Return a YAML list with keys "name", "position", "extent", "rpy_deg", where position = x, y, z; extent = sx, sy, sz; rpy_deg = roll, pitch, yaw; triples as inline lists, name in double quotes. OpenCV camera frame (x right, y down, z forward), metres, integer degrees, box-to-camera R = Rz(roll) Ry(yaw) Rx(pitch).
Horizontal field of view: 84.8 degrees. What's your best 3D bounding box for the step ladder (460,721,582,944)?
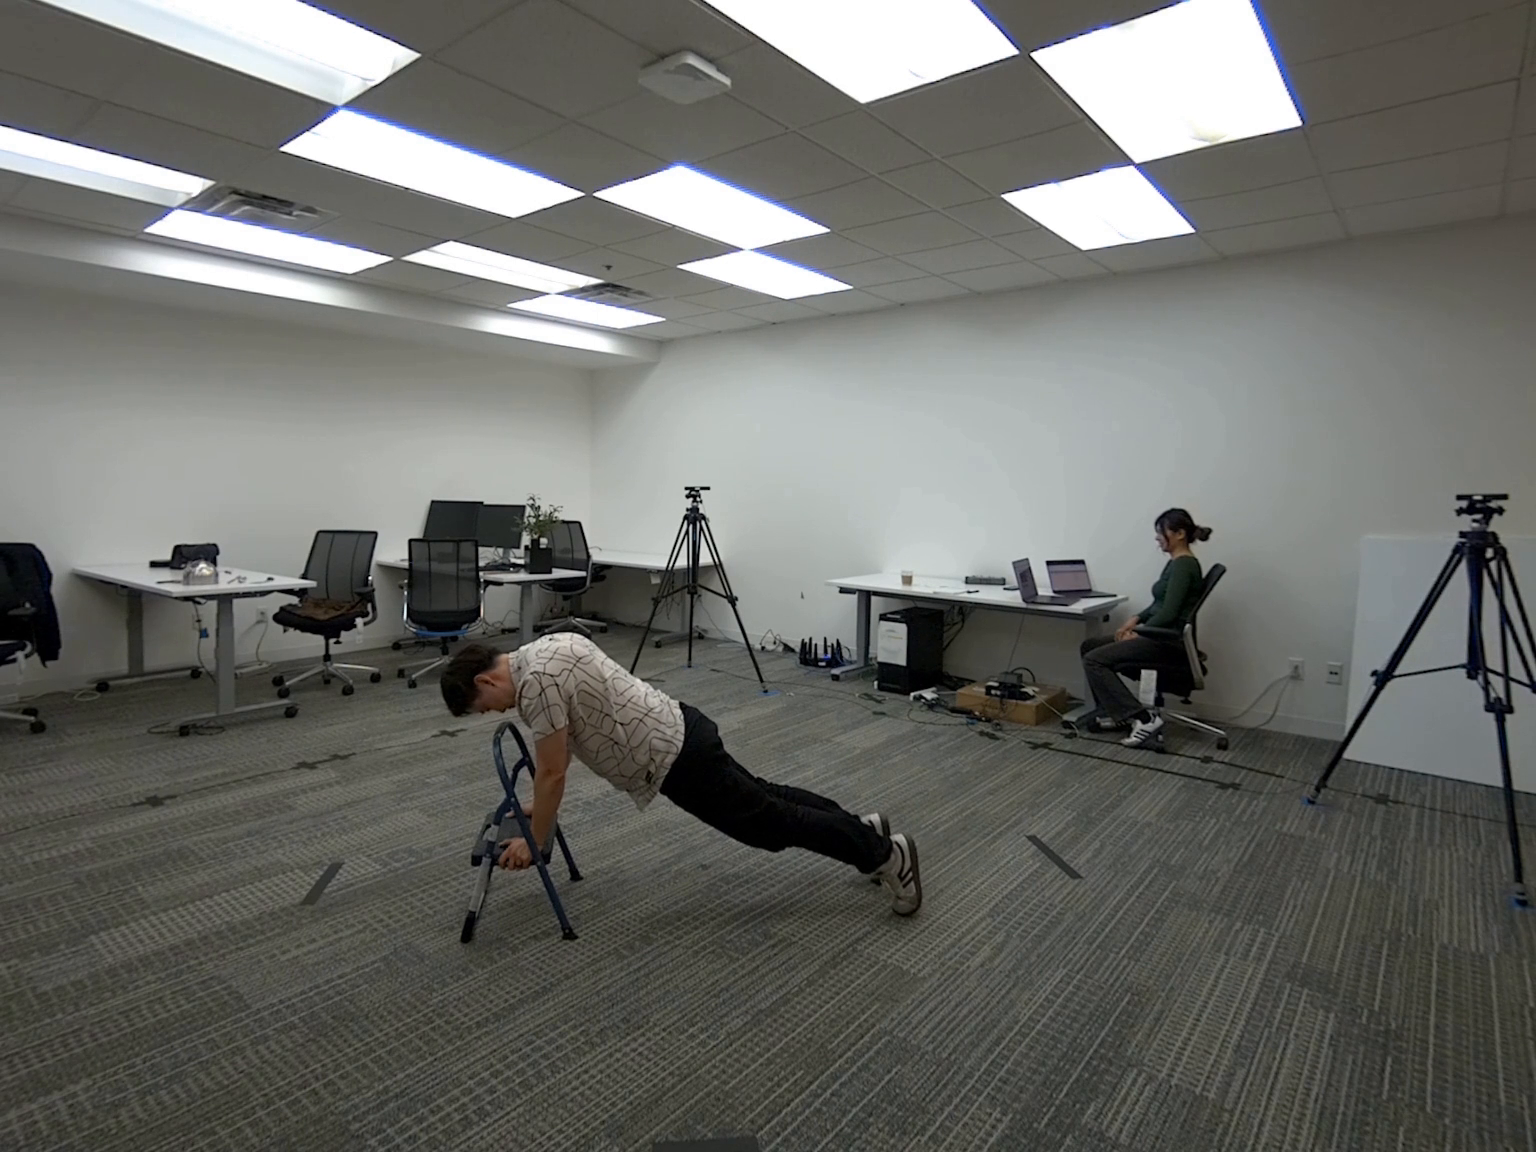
- name: "step ladder"
  position: [-0.803, 0.793, 2.781]
  extent: [0.346, 0.604, 0.436]
  rpy_deg: [1, 3, -9]
